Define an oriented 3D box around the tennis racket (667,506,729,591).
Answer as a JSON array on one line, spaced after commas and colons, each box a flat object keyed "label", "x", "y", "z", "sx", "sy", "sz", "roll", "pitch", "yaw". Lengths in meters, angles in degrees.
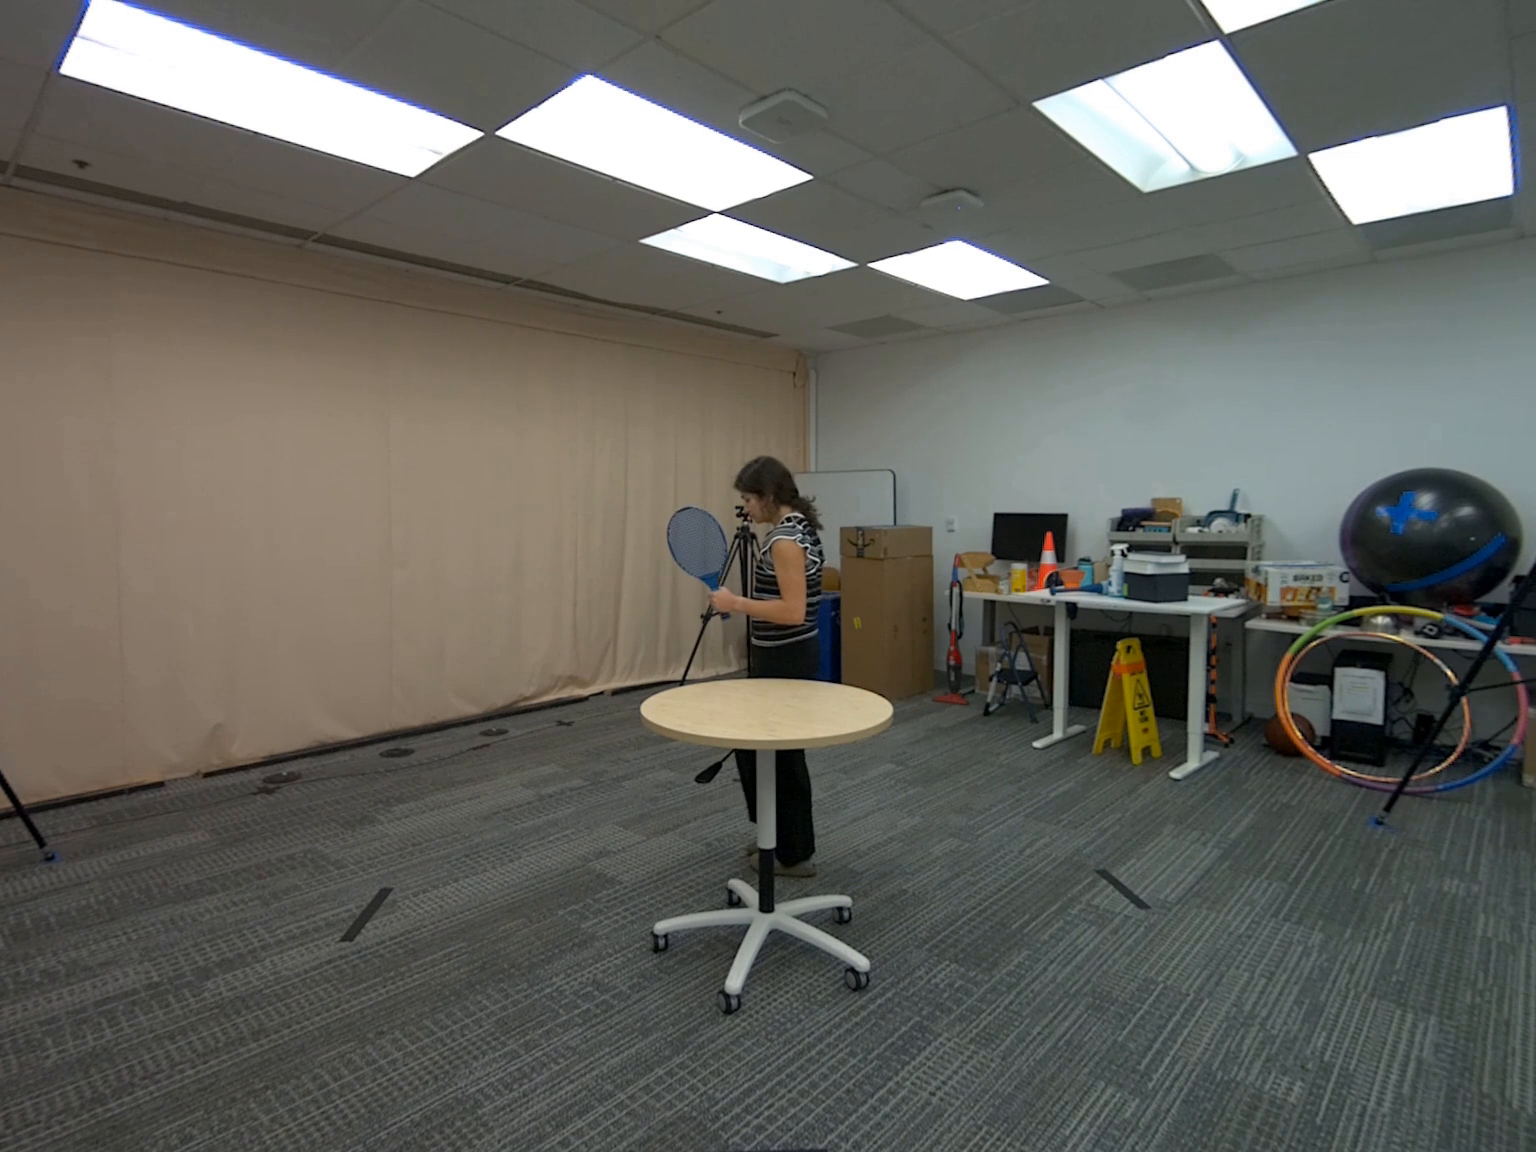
[{"label": "tennis racket", "x": -0.211, "y": -0.042, "z": 2.998, "sx": 0.217, "sy": 0.429, "sz": 0.031, "roll": -18, "pitch": 9, "yaw": 18}]
